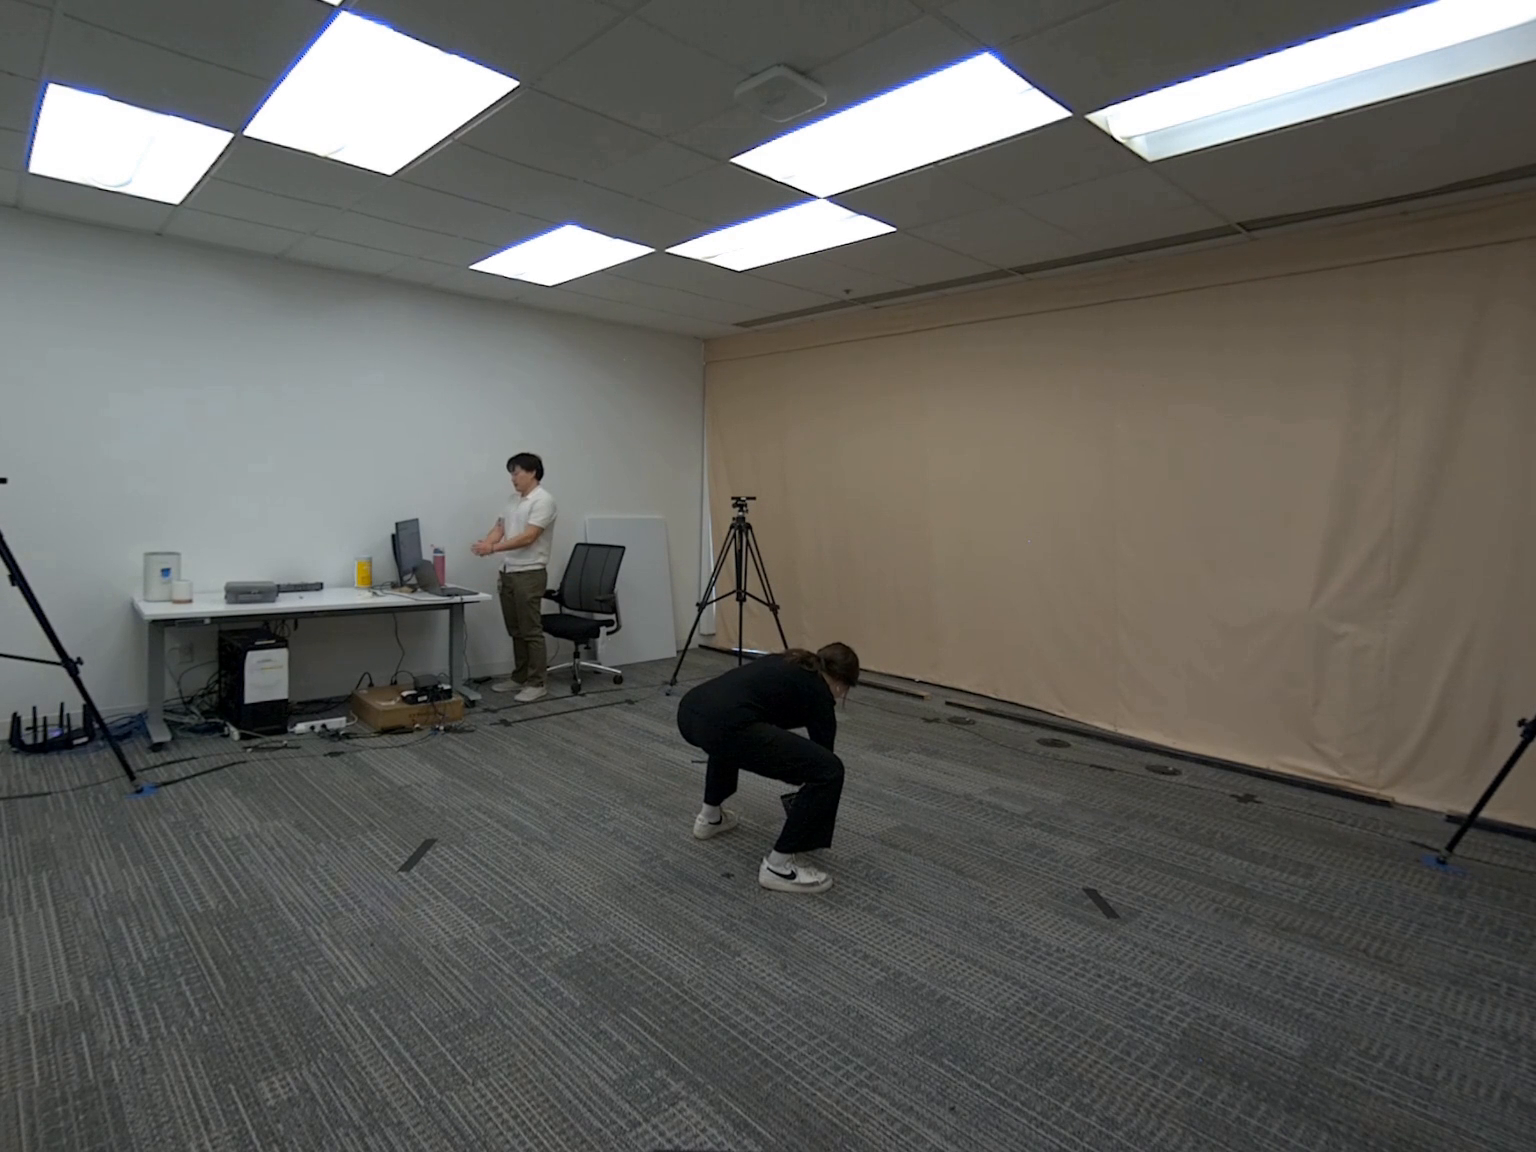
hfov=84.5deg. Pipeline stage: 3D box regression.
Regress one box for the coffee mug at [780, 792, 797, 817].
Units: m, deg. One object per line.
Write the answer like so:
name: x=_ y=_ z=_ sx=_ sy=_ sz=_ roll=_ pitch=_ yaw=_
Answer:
coffee mug: x=0.106 y=0.991 z=3.399 sx=0.089 sy=0.206 sz=0.119 roll=-24 pitch=-20 yaw=38
